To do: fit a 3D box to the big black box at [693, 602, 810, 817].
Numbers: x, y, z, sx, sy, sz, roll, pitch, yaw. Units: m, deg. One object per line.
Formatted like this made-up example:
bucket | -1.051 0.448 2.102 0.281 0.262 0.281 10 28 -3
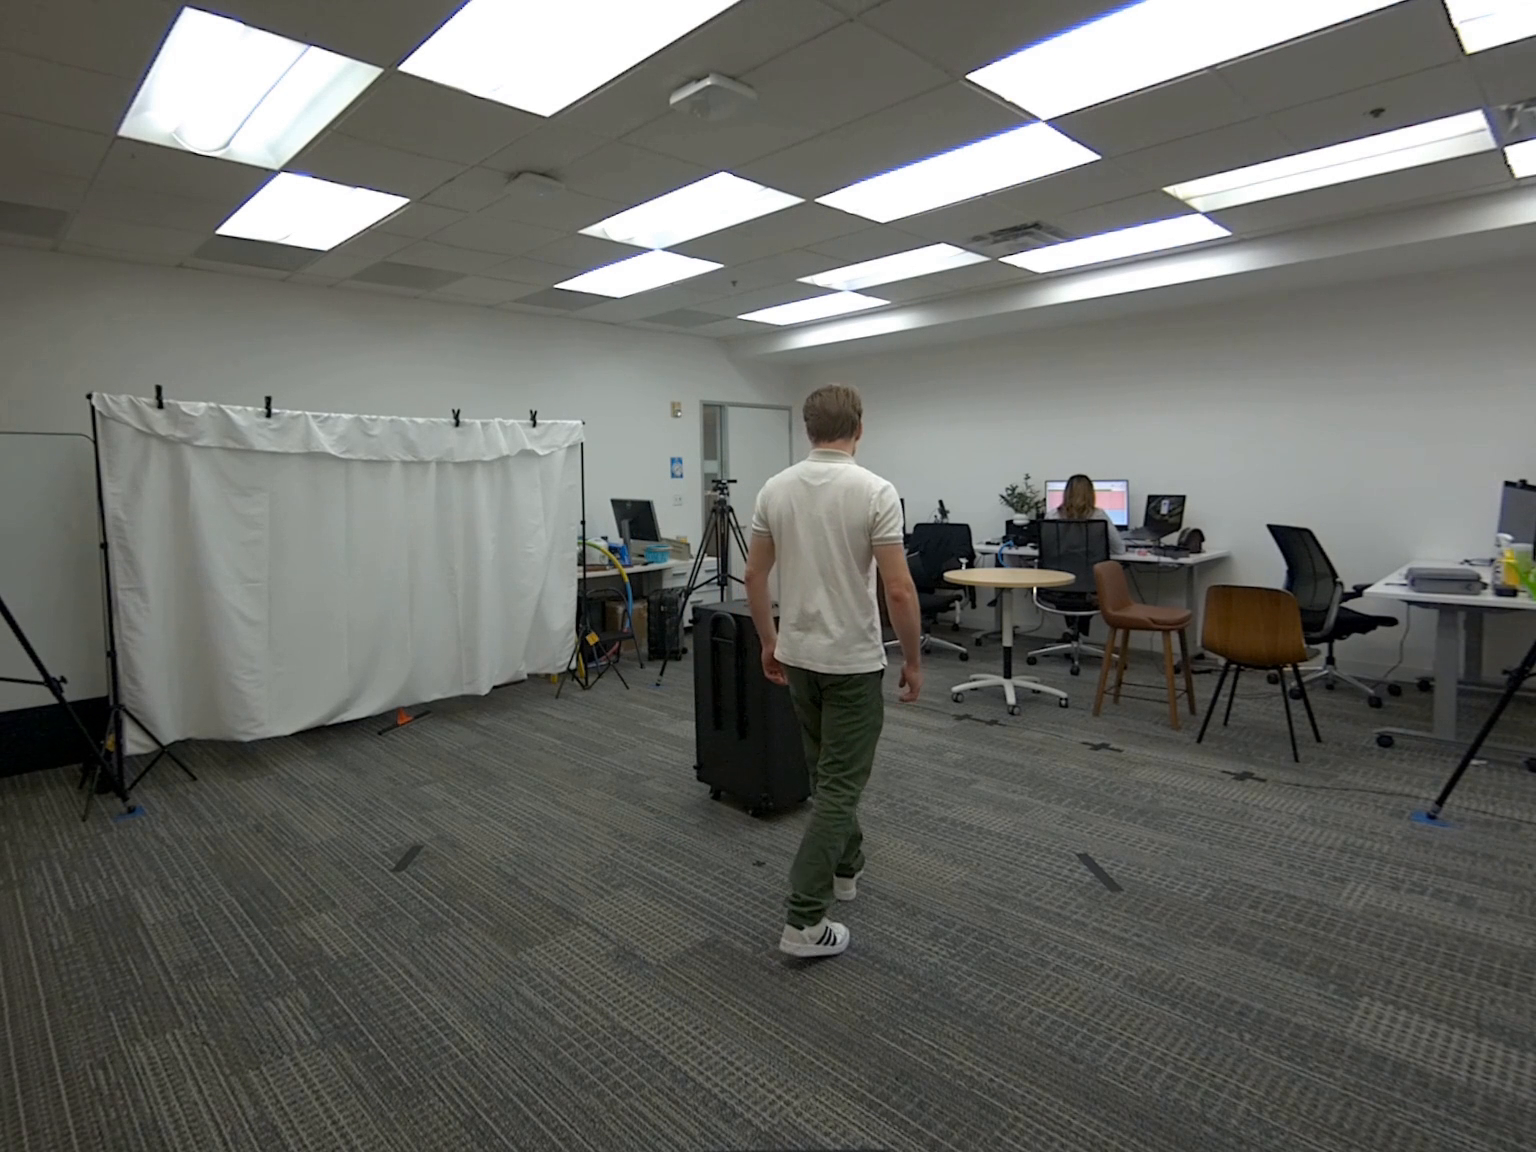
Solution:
big black box | -0.042 0.562 3.685 0.386 0.857 0.537 -6 7 -40
